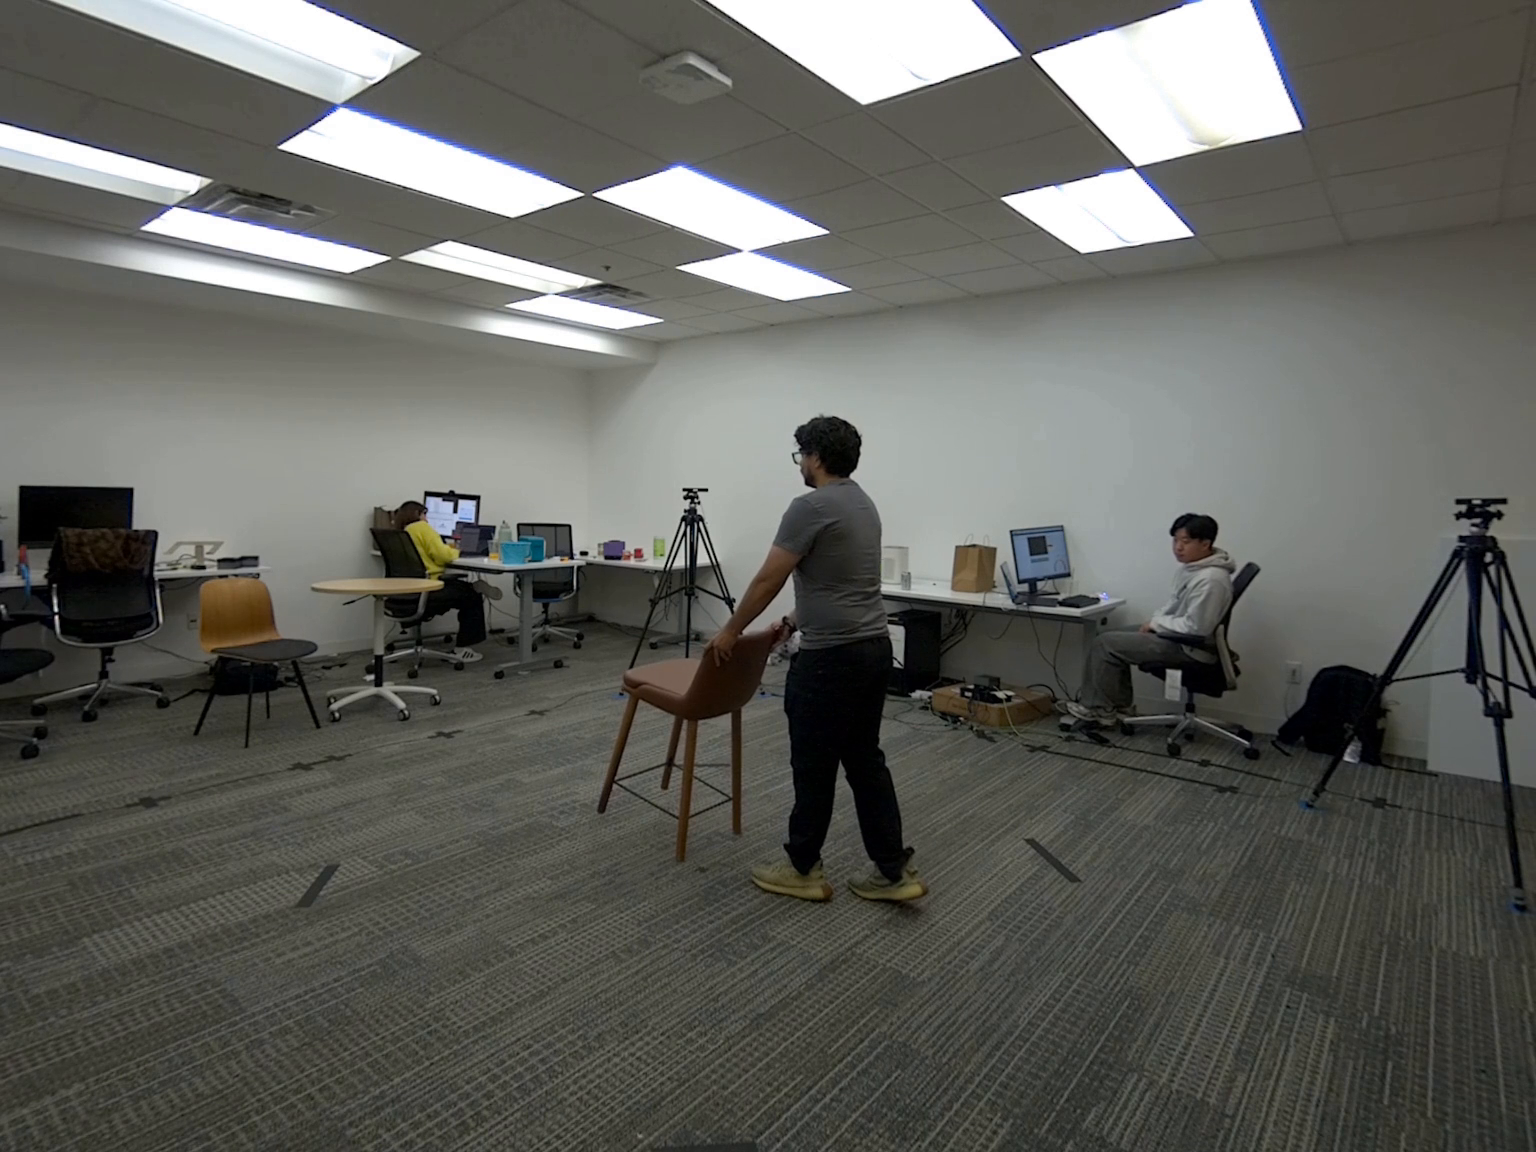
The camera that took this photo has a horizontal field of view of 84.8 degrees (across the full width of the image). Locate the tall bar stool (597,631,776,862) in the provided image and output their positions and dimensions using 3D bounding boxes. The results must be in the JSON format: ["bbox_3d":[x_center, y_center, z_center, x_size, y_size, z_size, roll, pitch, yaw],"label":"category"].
[{"bbox_3d":[-0.326,0.573,3.374,0.485,0.883,0.443,19,13,36],"label":"tall bar stool"}]
